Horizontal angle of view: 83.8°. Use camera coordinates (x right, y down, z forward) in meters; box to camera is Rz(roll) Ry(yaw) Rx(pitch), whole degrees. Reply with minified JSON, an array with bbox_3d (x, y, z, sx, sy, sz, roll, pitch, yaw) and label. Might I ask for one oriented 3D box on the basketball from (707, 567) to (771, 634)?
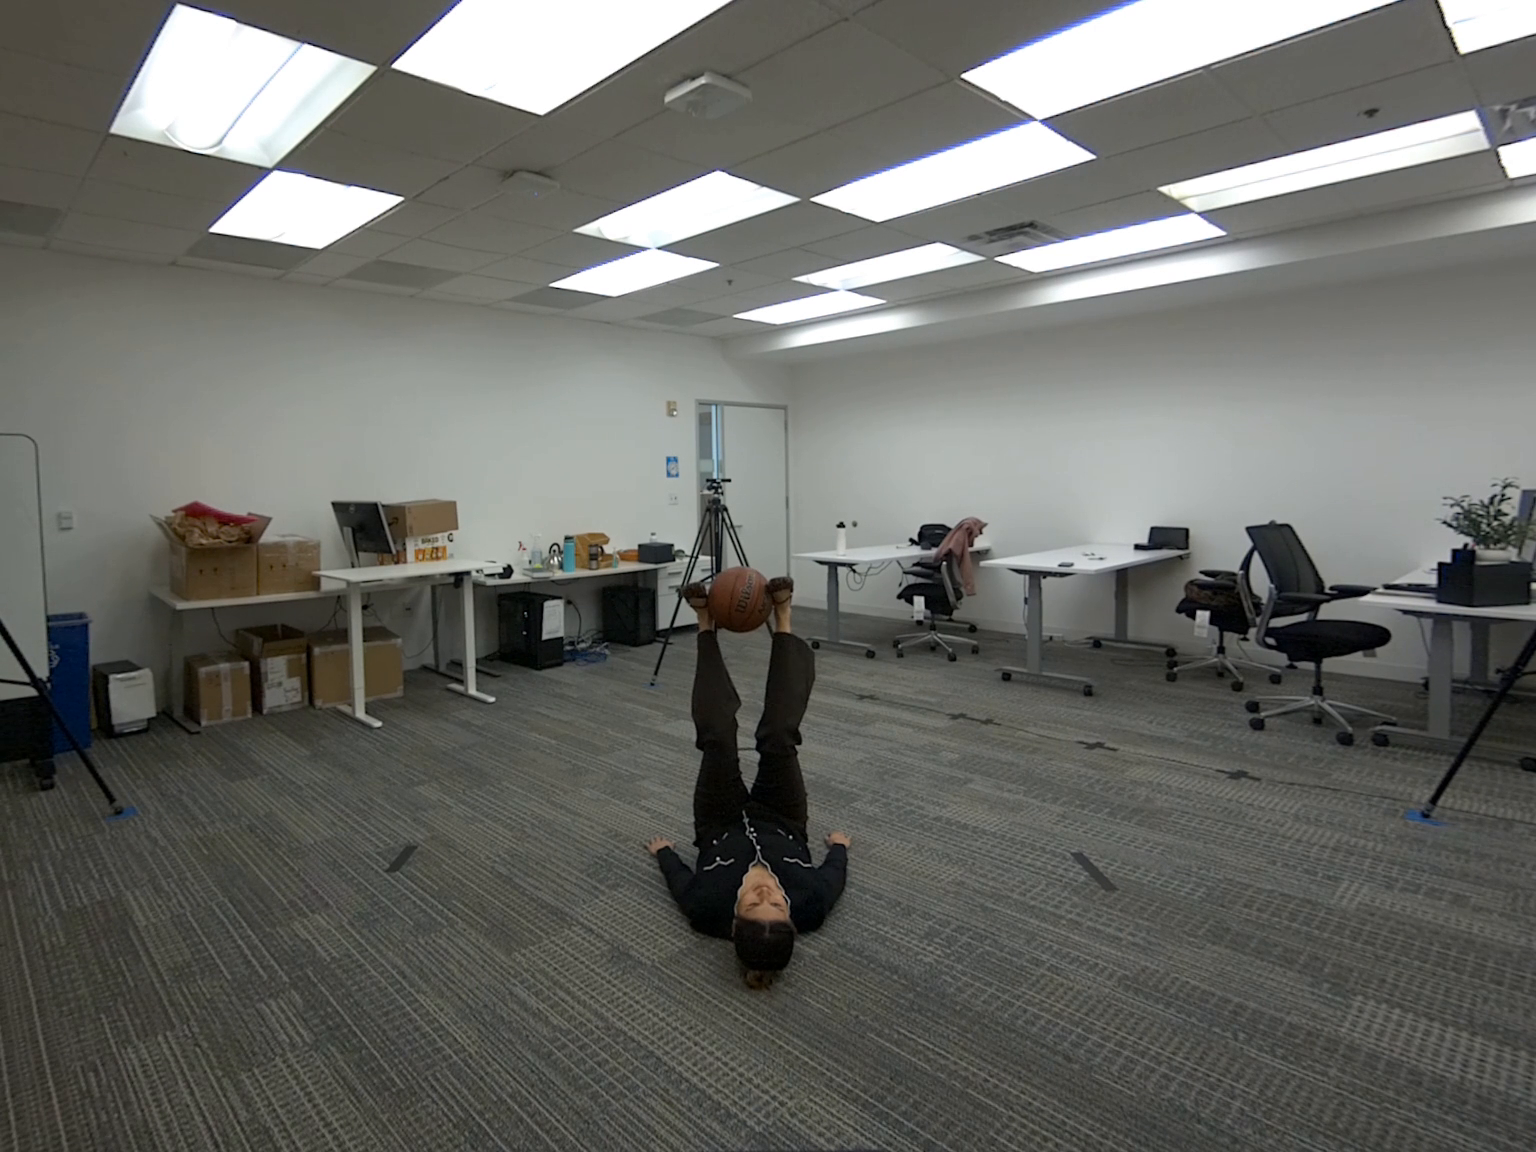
[{"bbox_3d":[-0.094,0.080,3.044,0.236,0.235,0.237,-4,4,-1],"label":"basketball"}]
